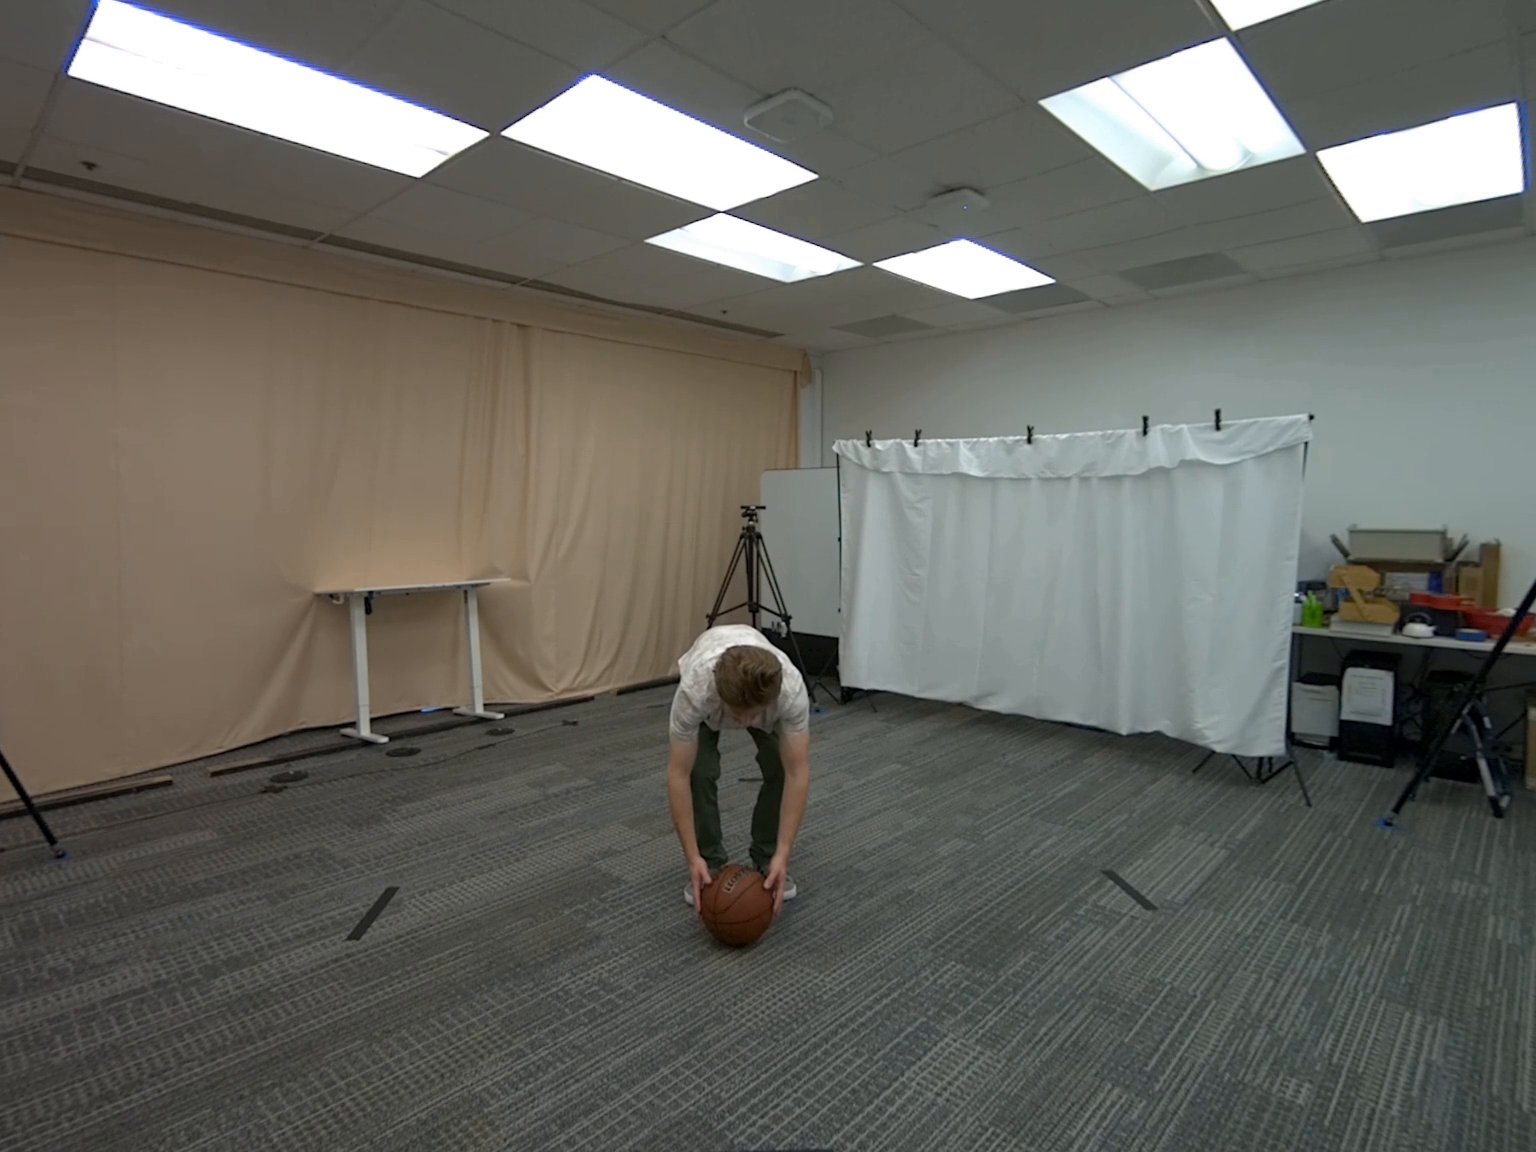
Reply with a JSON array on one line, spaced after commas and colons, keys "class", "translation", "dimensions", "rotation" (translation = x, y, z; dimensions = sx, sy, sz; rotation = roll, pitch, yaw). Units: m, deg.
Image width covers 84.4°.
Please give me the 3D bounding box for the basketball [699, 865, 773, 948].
[{"class": "basketball", "translation": [-0.101, 1.043, 2.683], "dimensions": [0.236, 0.235, 0.237], "rotation": [0, 4, -2]}]
